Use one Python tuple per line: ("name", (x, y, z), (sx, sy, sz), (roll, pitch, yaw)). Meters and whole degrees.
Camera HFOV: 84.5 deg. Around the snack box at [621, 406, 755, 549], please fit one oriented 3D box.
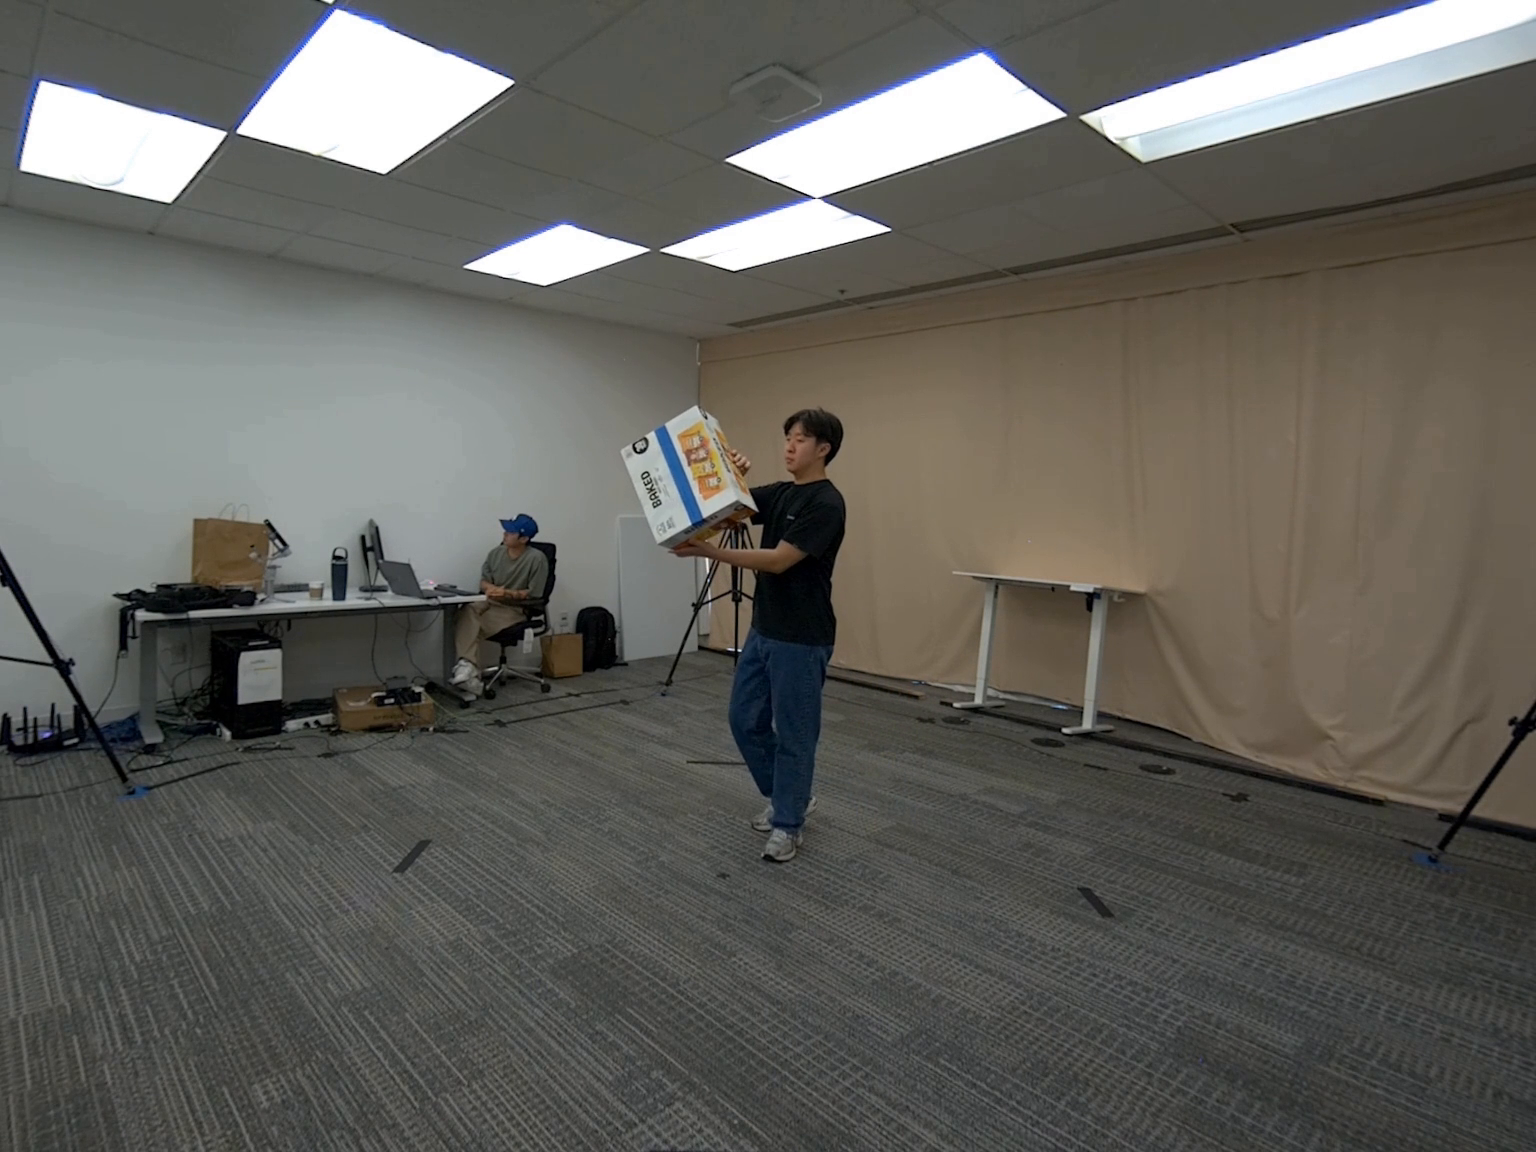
("snack box", (-0.289, -0.347, 3.109), (0.342, 0.412, 0.201), (-28, -18, 16))
